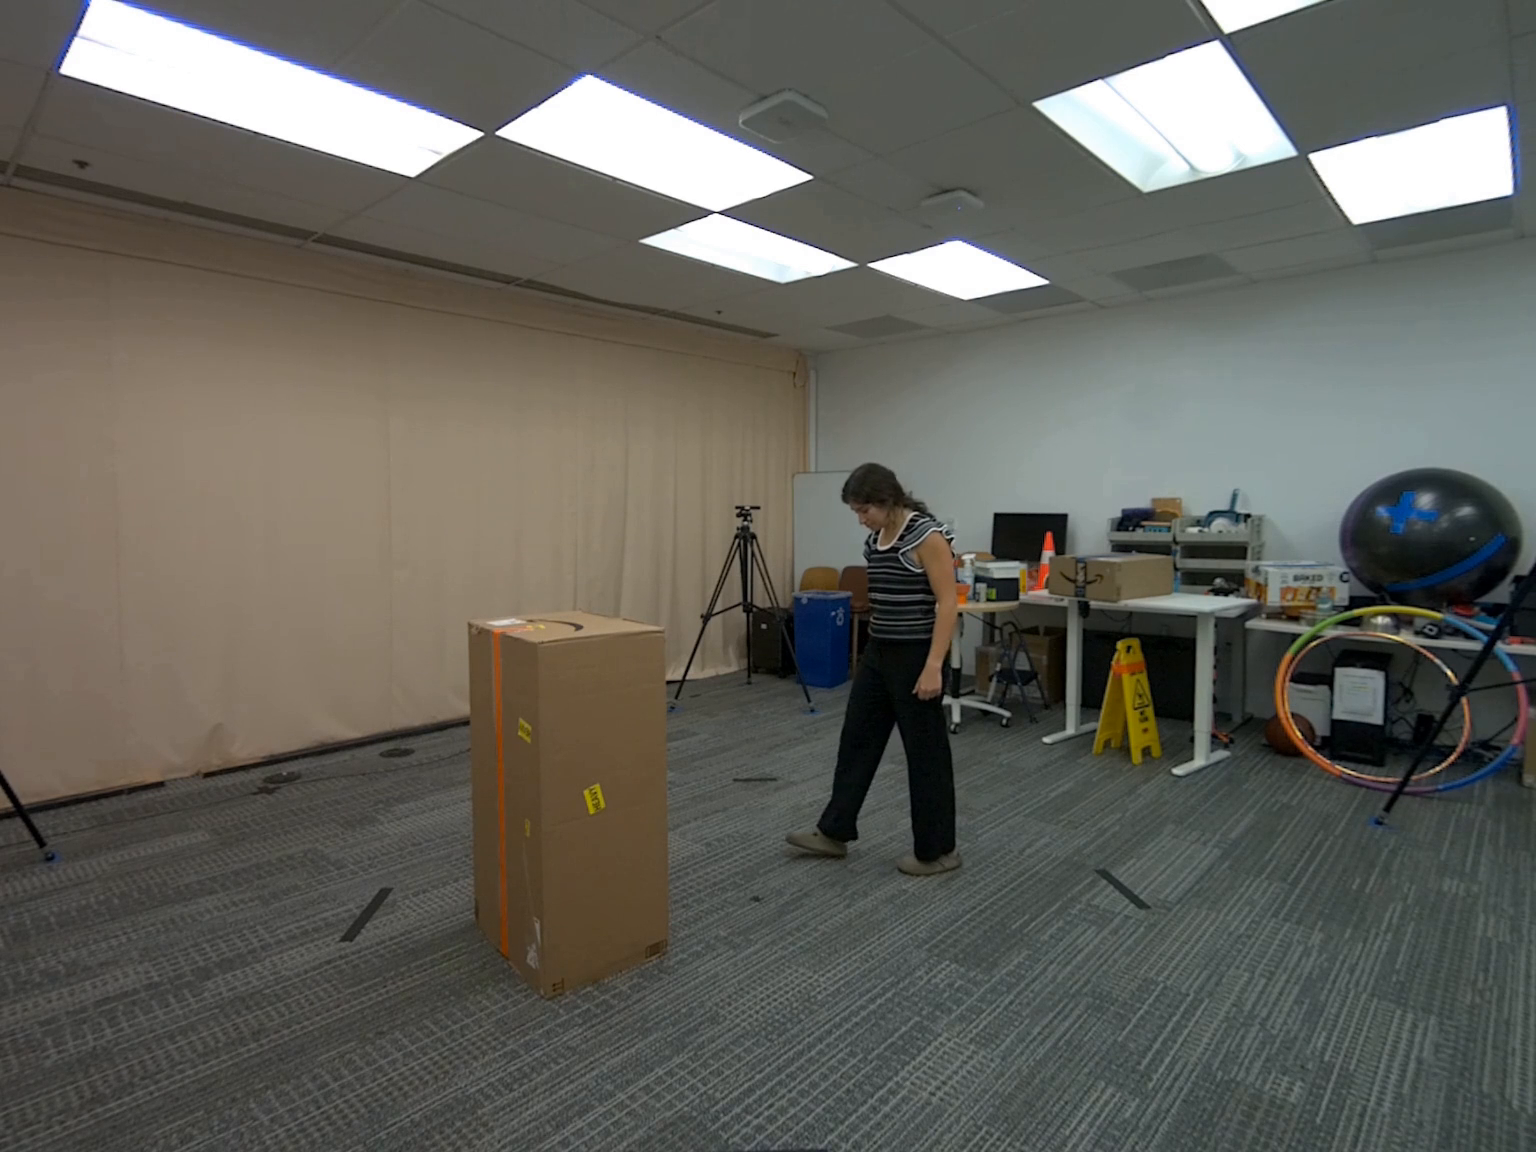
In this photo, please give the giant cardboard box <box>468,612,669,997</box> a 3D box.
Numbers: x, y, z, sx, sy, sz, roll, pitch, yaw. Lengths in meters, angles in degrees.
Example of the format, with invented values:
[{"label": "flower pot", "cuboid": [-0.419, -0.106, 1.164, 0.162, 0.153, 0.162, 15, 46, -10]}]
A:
[{"label": "giant cardboard box", "cuboid": [-0.652, 0.665, 2.700, 0.413, 1.024, 0.596, -3, 4, -38]}]
